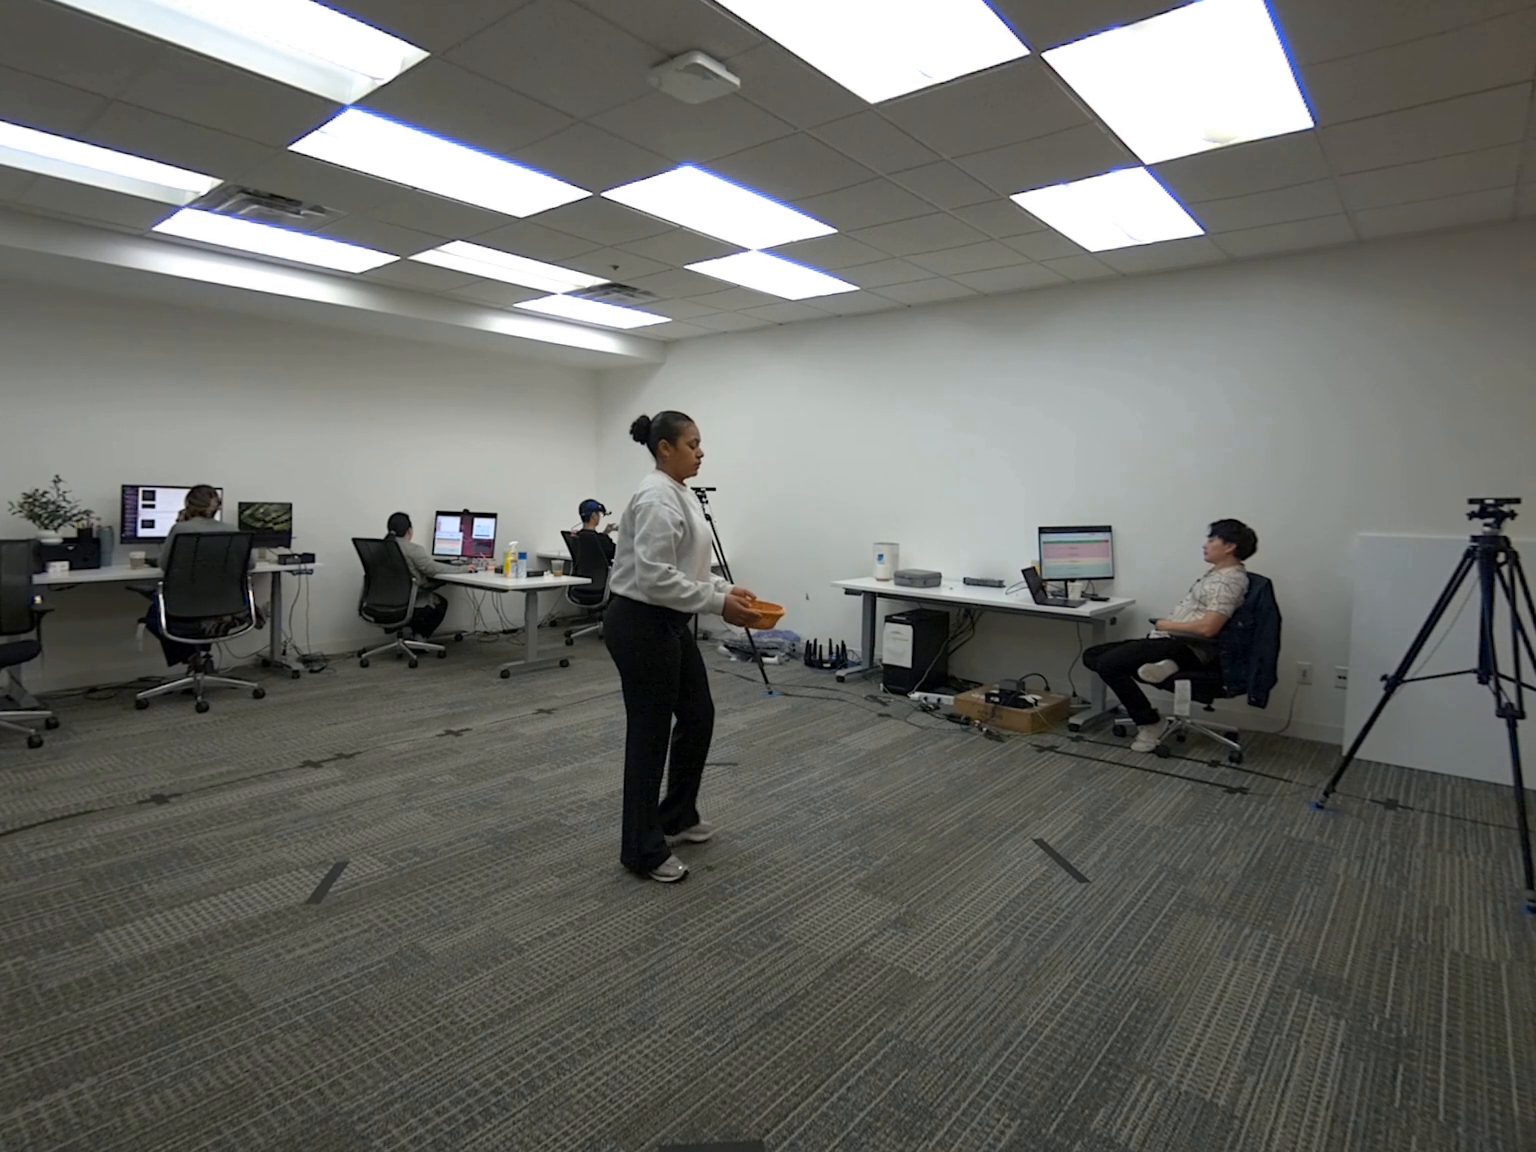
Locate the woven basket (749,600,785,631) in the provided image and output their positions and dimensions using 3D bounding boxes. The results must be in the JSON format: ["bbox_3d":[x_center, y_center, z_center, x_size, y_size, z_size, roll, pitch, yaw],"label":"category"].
[{"bbox_3d":[-0.089,0.127,3.021,0.258,0.073,0.343,13,4,17],"label":"woven basket"}]
